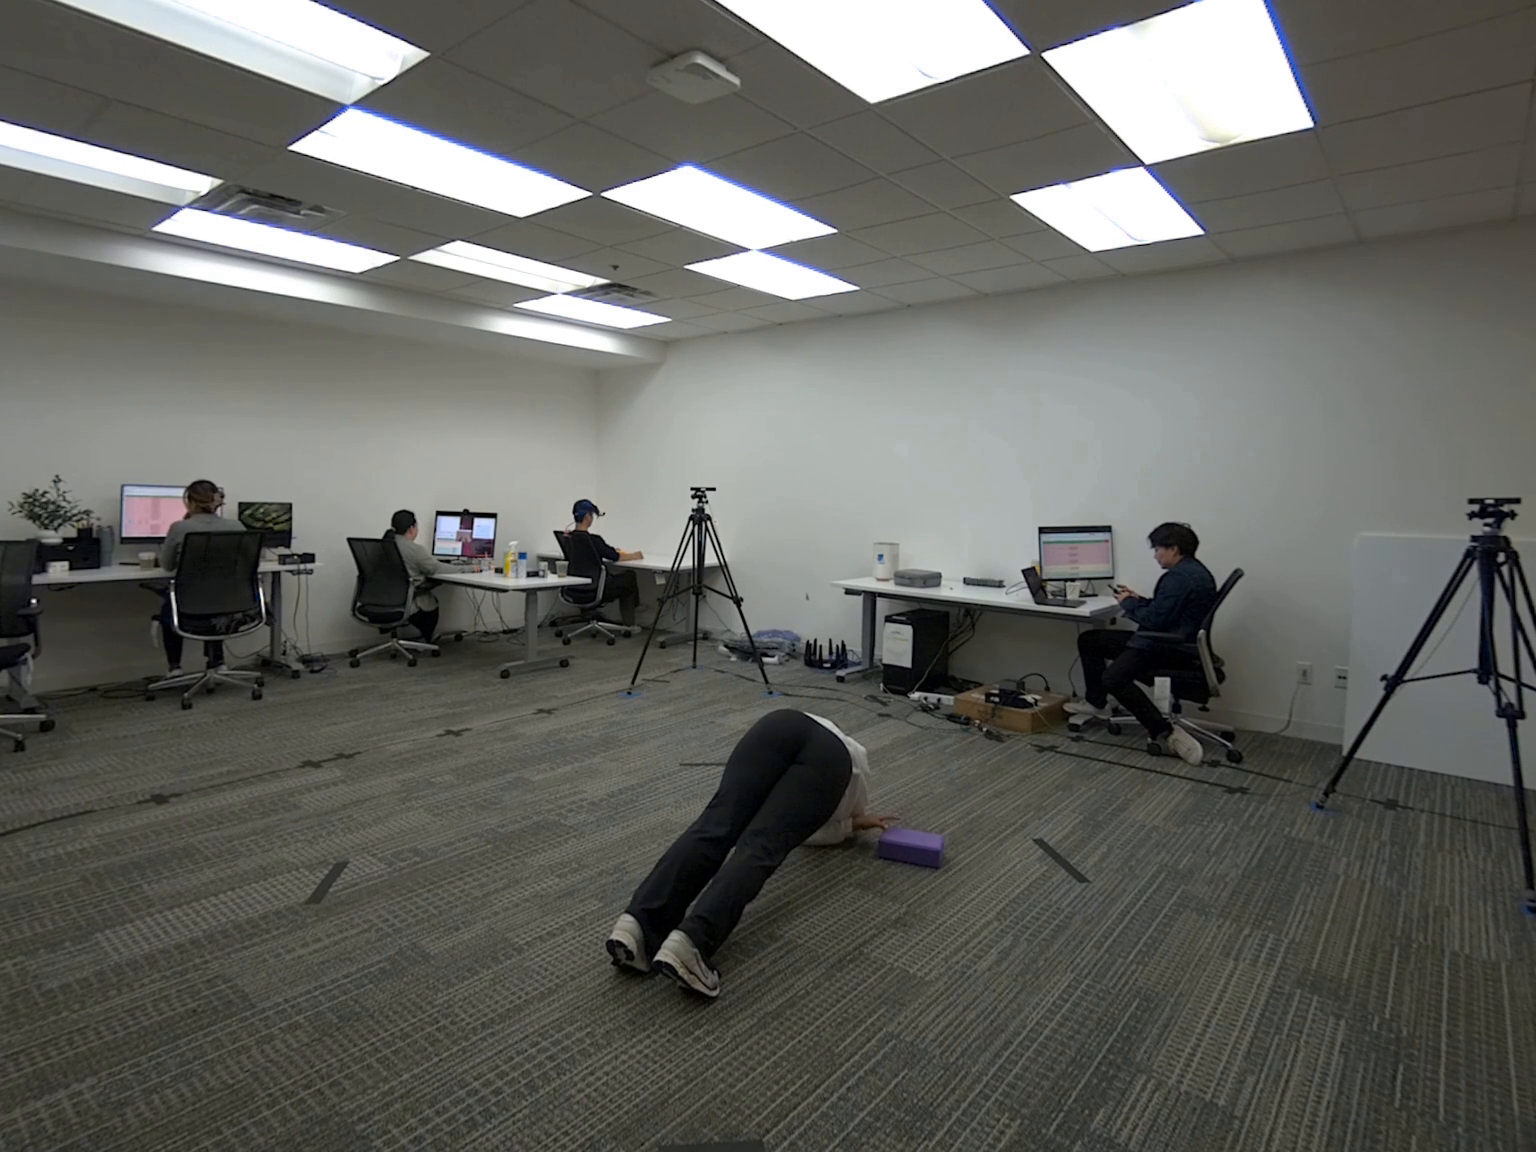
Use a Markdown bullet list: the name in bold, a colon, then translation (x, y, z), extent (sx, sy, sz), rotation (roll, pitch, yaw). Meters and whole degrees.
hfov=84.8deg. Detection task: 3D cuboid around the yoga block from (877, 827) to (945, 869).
- **yoga block**: translation (0.540, 1.030, 3.249), extent (0.234, 0.076, 0.146), rotation (4, 4, 20)
